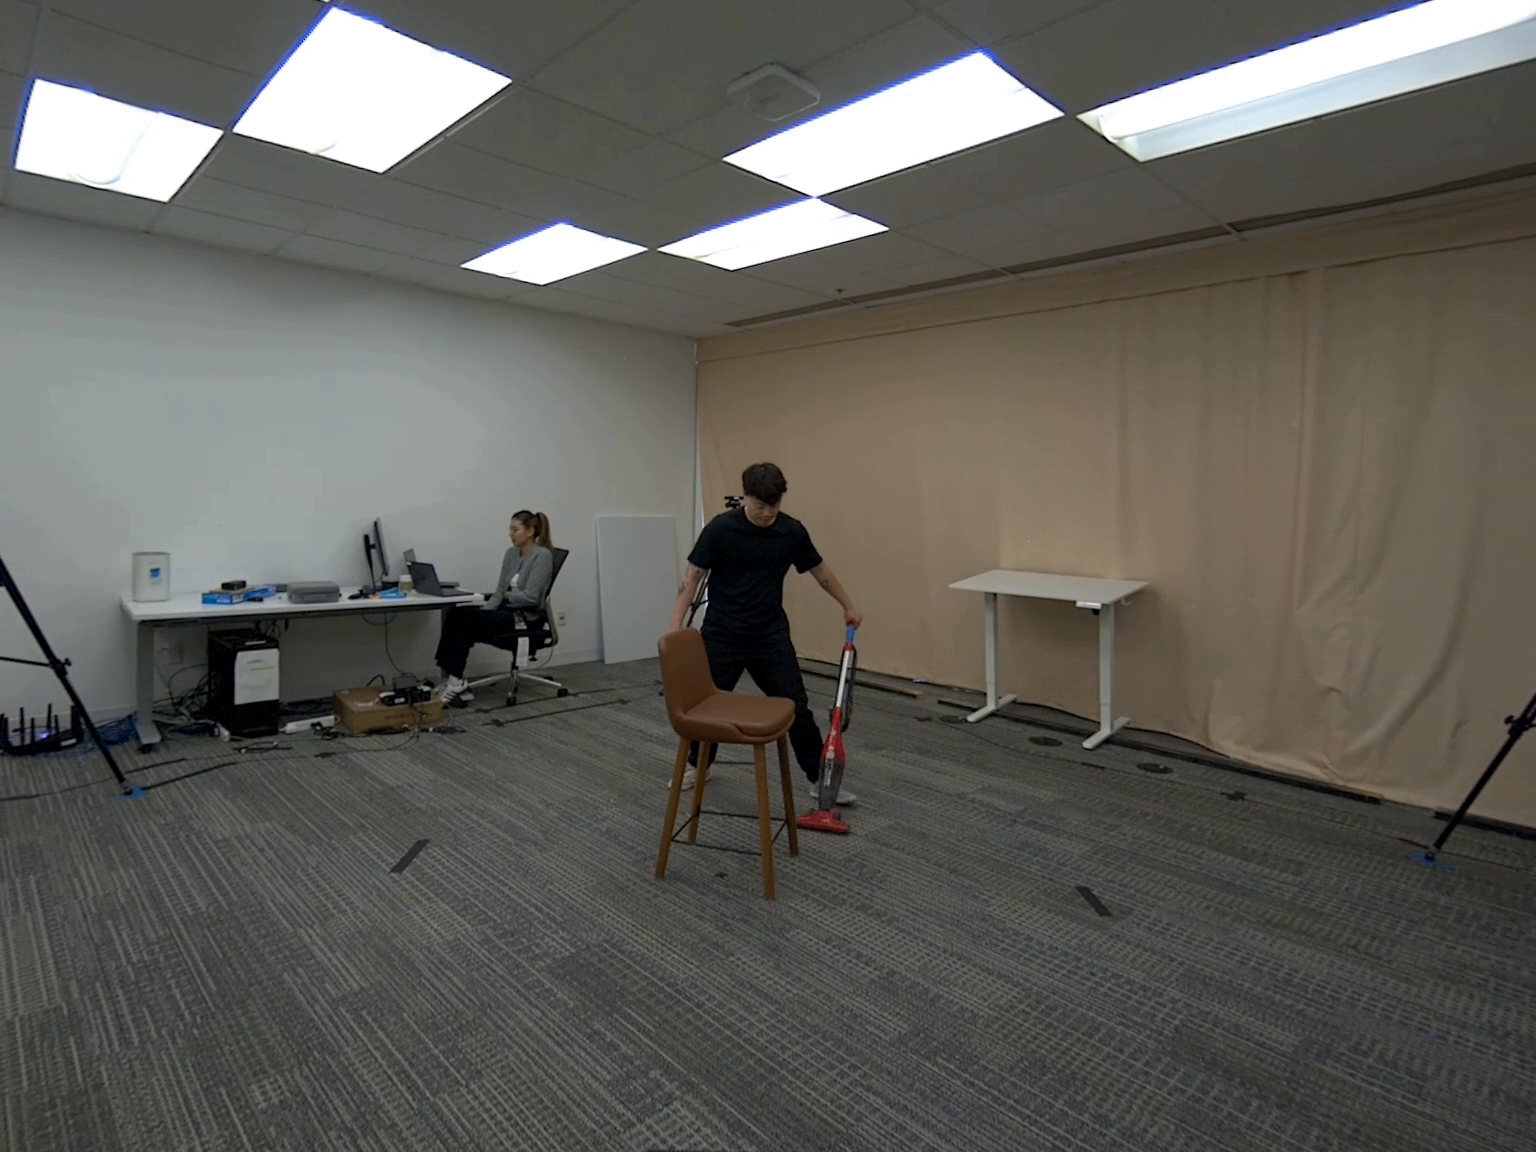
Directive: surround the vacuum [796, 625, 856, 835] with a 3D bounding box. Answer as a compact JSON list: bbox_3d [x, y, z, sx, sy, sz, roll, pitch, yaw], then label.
[{"bbox_3d":[0.326,0.635,3.868,0.255,1.064,0.140,5,-36,12],"label":"vacuum"}]
